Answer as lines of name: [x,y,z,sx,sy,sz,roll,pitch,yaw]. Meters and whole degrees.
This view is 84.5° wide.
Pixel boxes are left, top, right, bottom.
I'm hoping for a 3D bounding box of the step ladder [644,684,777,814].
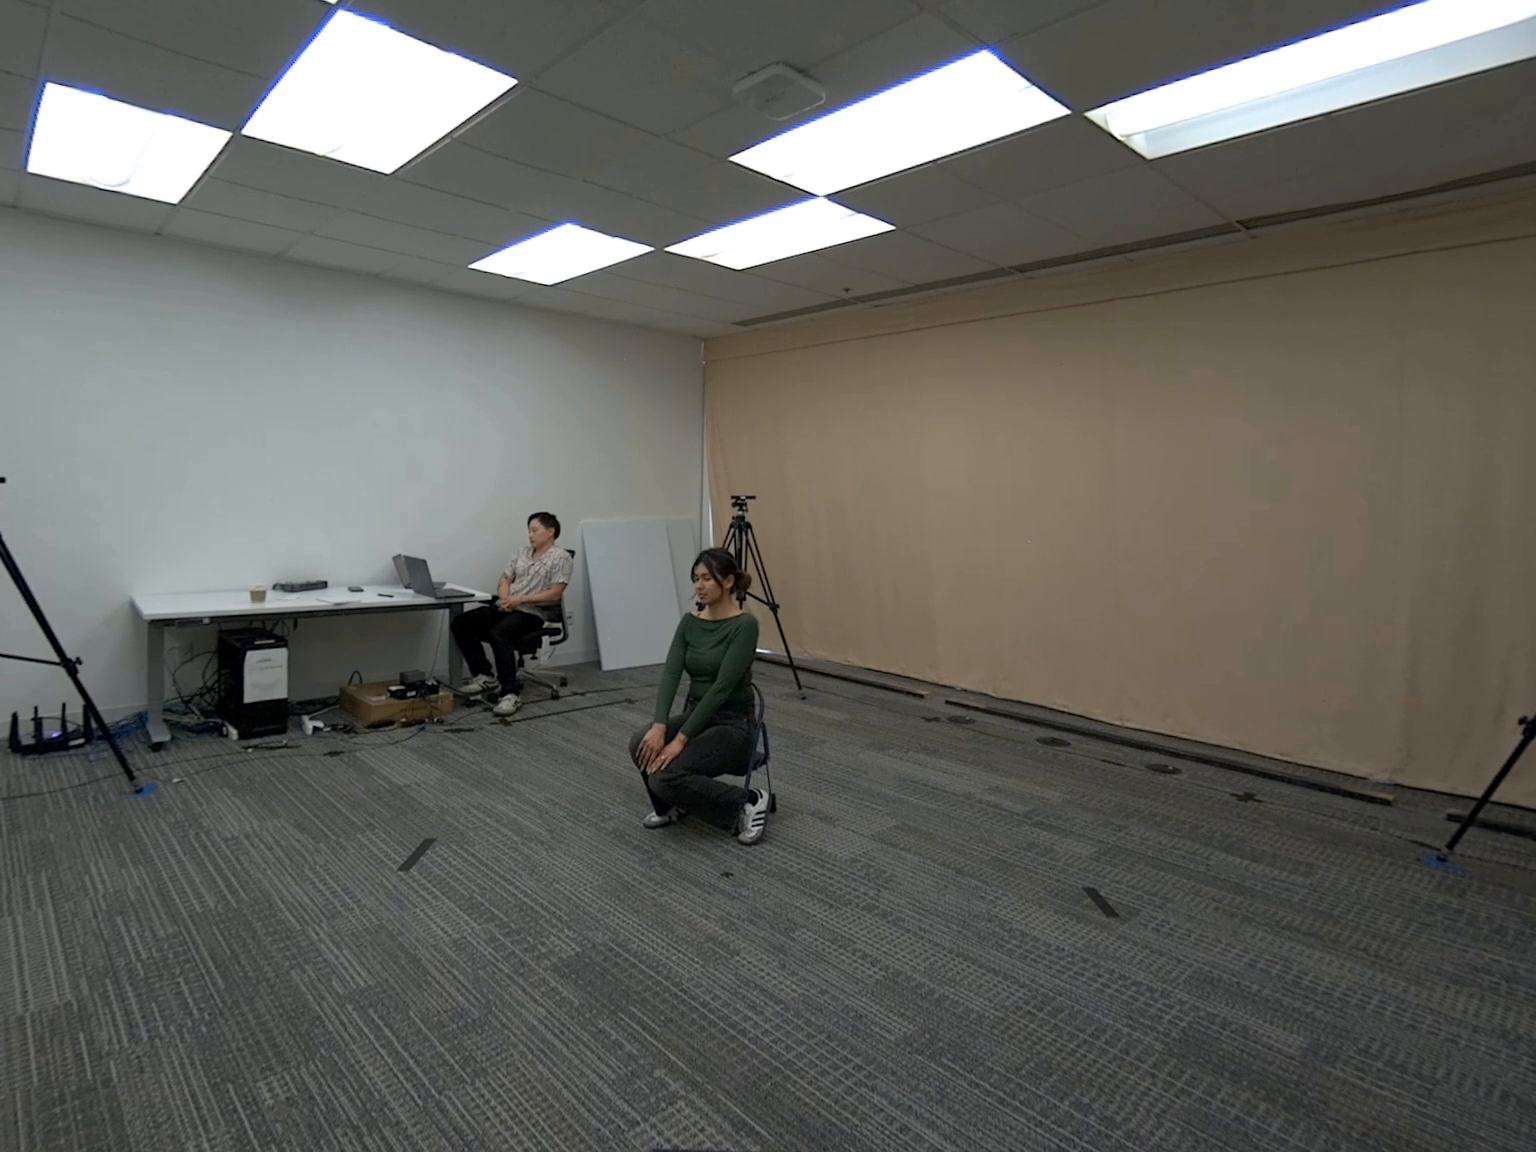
step ladder: [-0.218,0.753,3.702,0.440,0.605,0.342,4,3,31]
